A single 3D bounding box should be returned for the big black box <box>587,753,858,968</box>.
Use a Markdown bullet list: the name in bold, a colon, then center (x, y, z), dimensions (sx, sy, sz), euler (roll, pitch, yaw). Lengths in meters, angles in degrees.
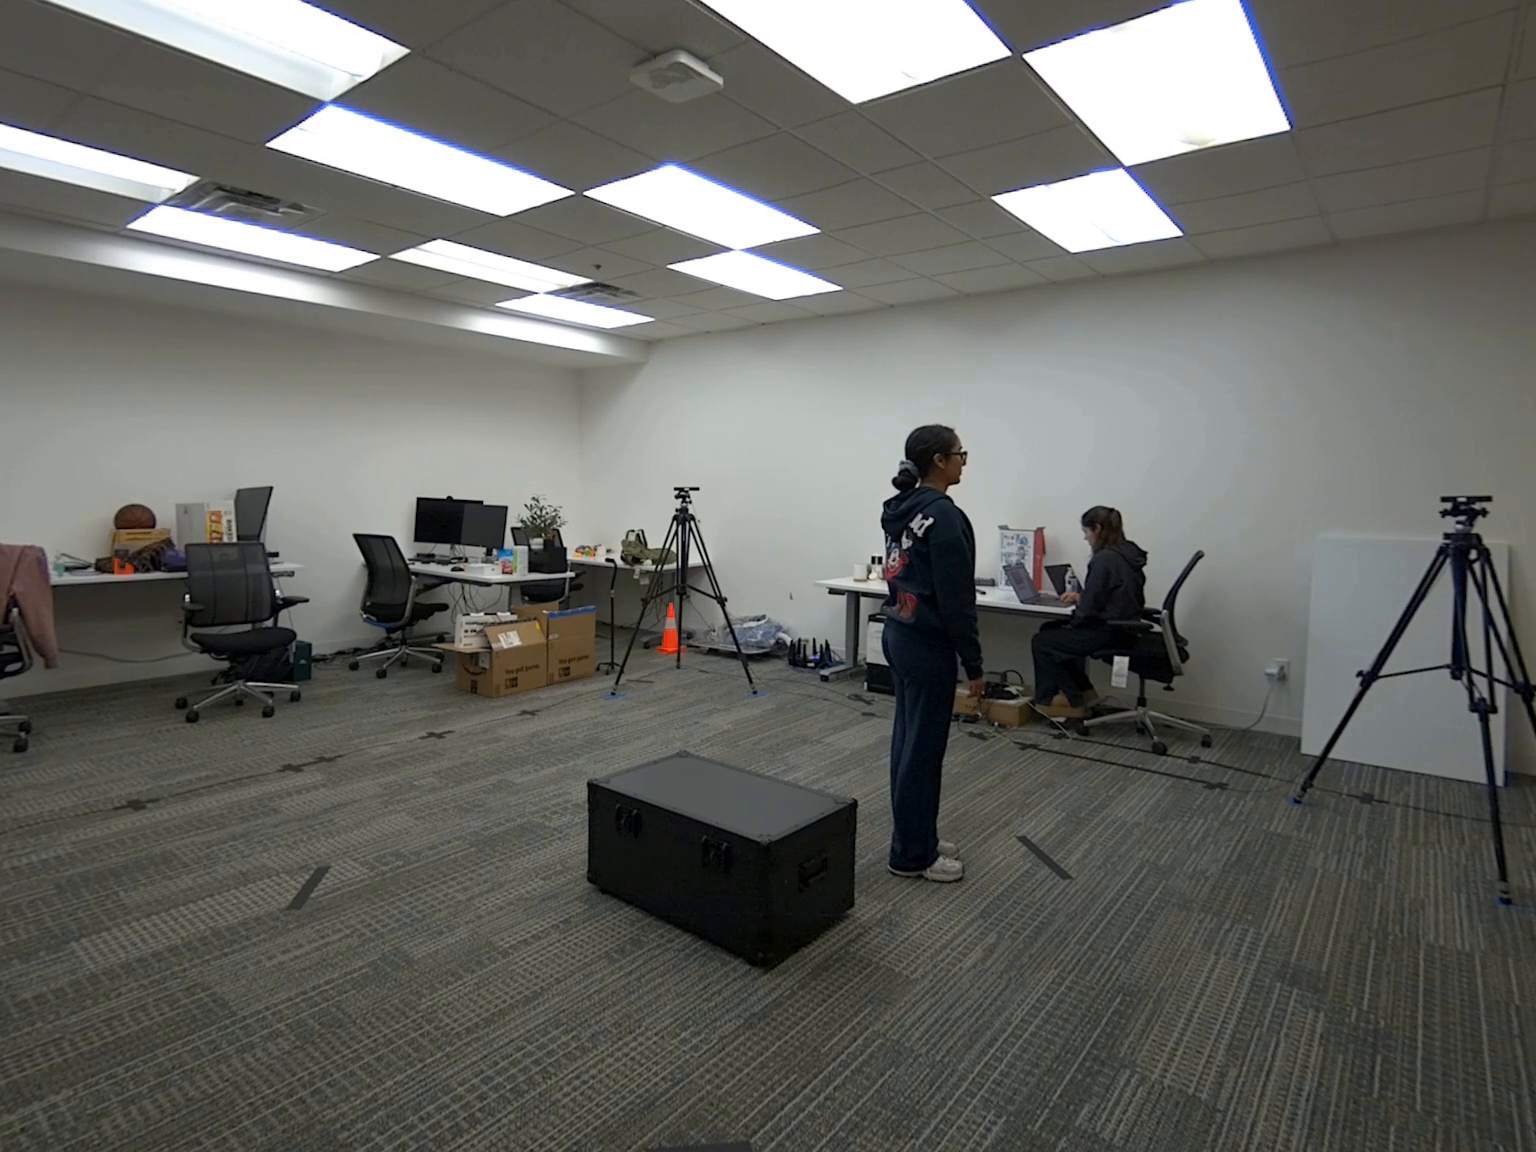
- **big black box**: center (-0.199, 0.898, 2.875), dimensions (0.891, 0.395, 0.506), euler (6, 6, 38)
